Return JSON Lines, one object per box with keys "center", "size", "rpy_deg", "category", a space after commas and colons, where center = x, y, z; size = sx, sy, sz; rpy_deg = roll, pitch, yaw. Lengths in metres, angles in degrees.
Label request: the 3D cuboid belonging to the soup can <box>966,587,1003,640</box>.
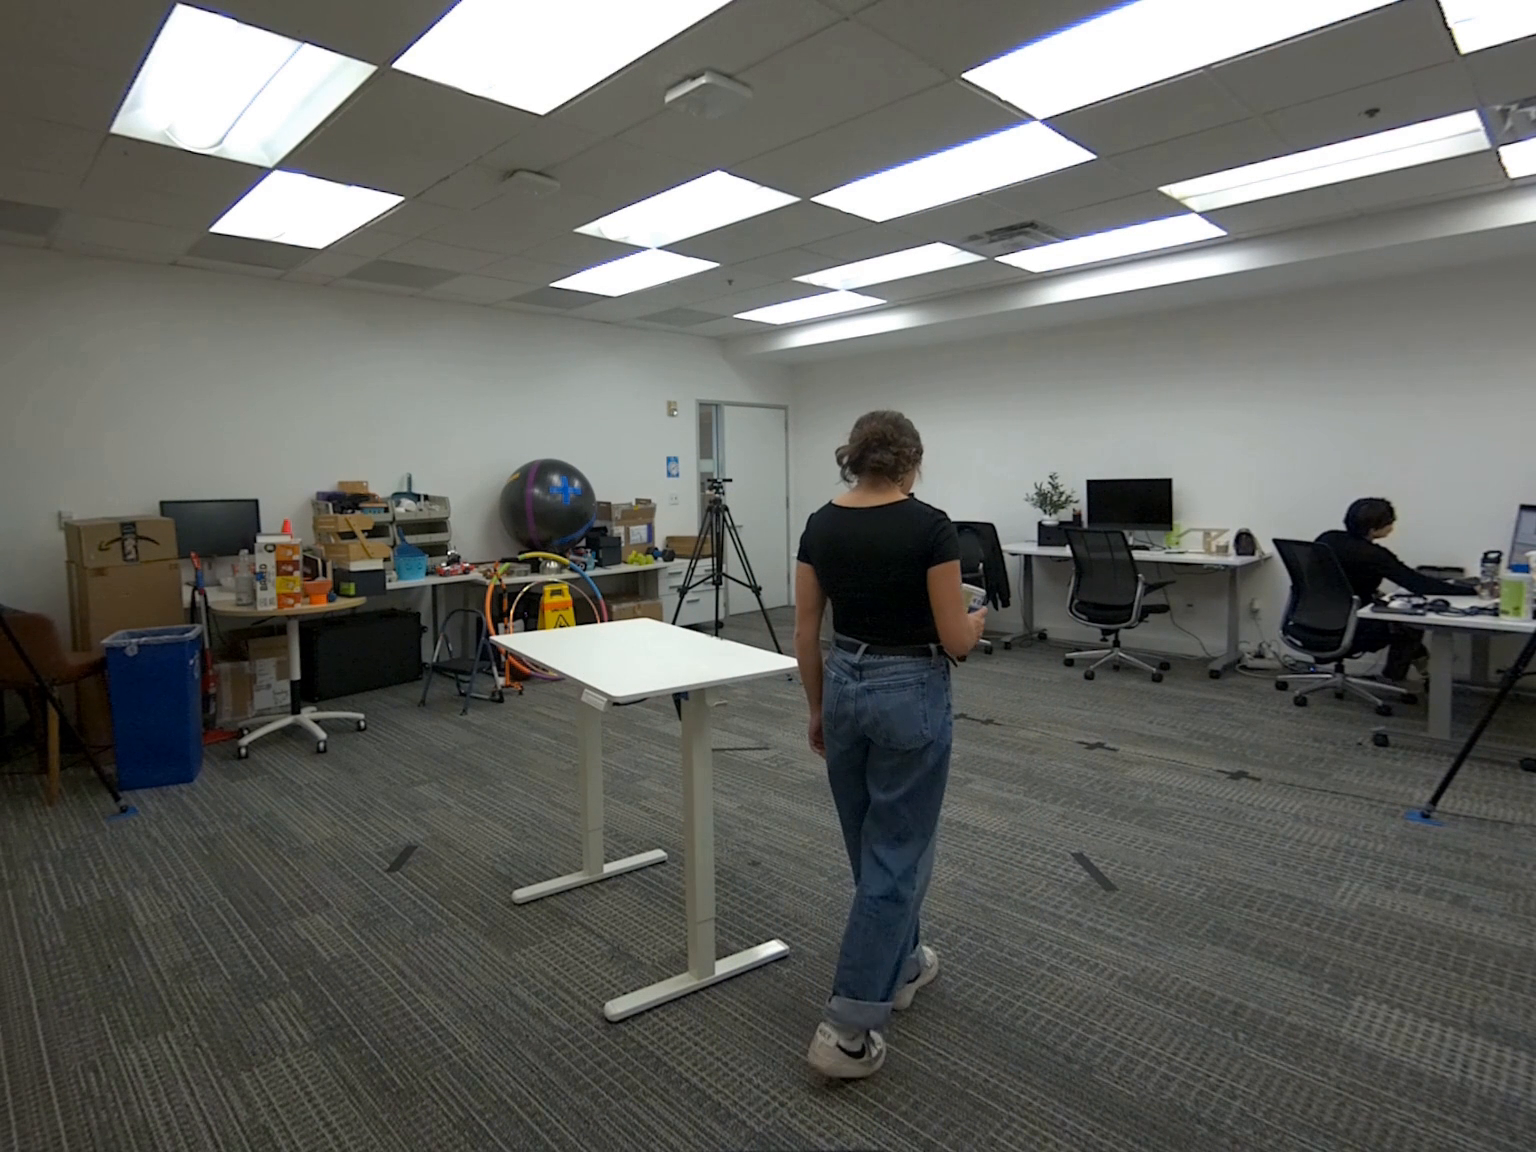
{"center": [0.556, 0.095, 2.238], "size": [0.067, 0.122, 0.067], "rpy_deg": [13, -3, -1], "category": "soup can"}
